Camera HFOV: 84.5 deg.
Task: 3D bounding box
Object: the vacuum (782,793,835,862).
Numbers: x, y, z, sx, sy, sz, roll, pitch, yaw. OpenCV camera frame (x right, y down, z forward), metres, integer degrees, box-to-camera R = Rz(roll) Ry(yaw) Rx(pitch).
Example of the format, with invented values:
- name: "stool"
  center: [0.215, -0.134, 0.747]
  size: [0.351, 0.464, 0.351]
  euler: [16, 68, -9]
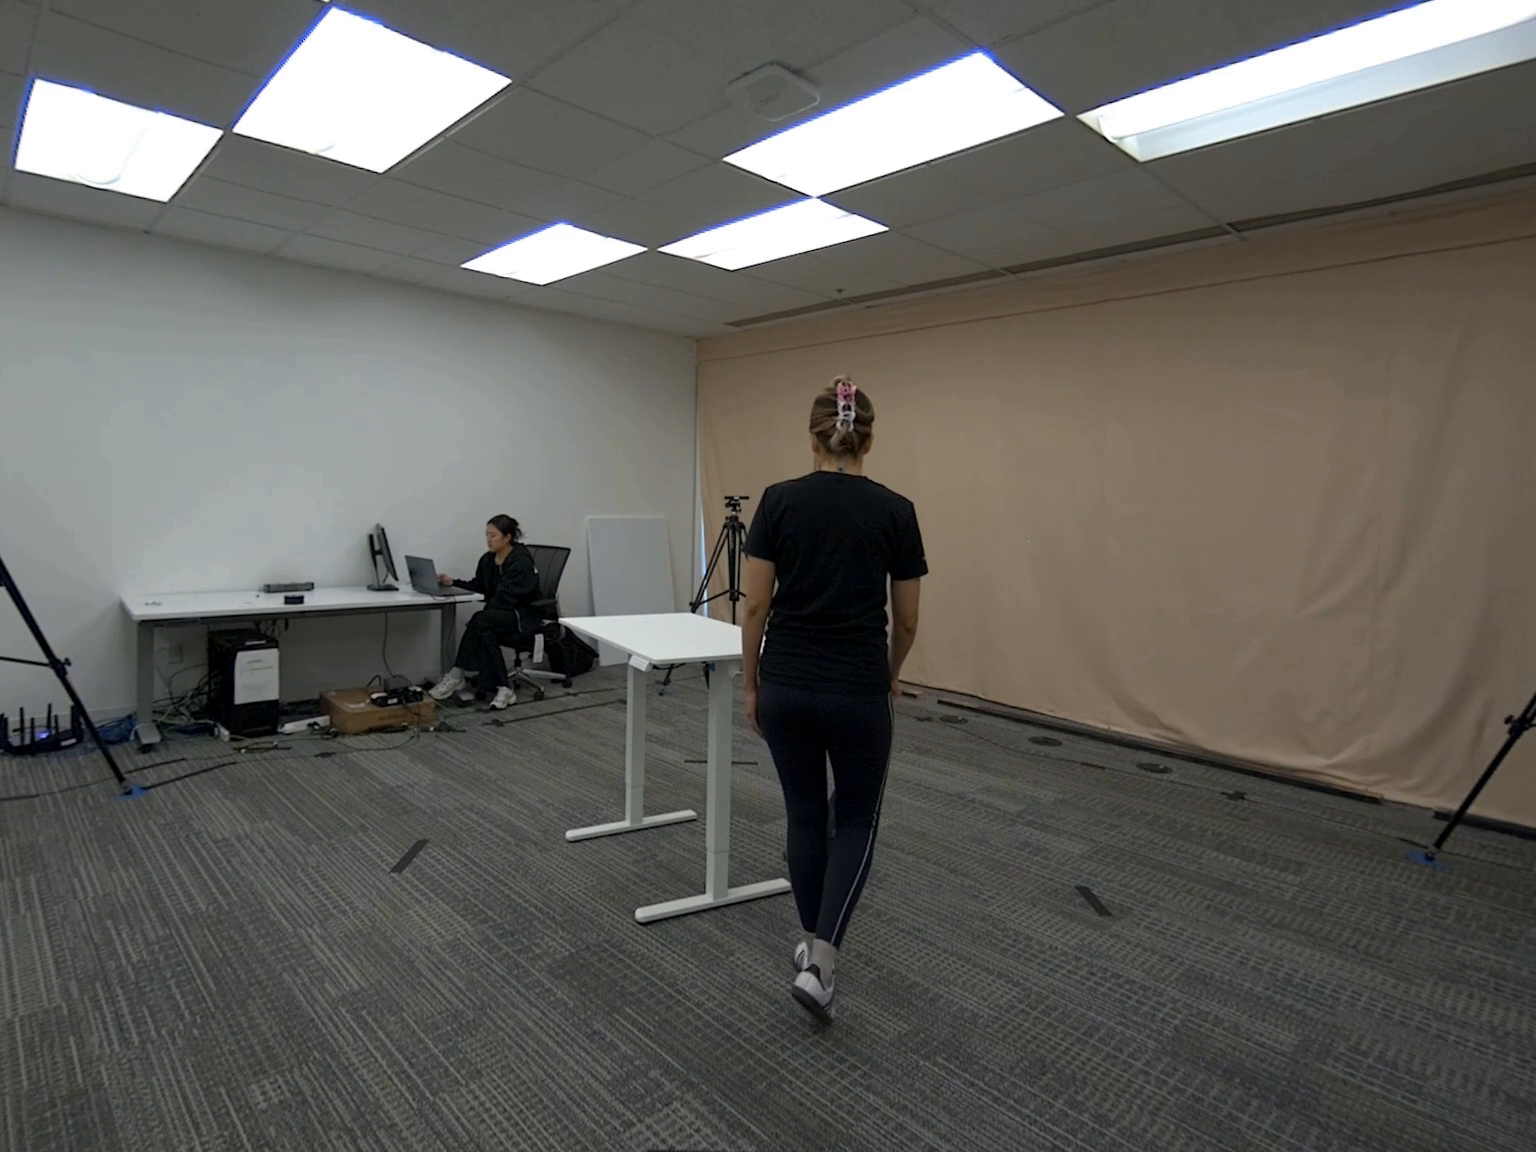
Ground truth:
- name: "vacuum"
  center: [0.282, 0.731, 2.879]
  size: [0.250, 1.033, 0.147]
  euler: [5, 45, -10]
